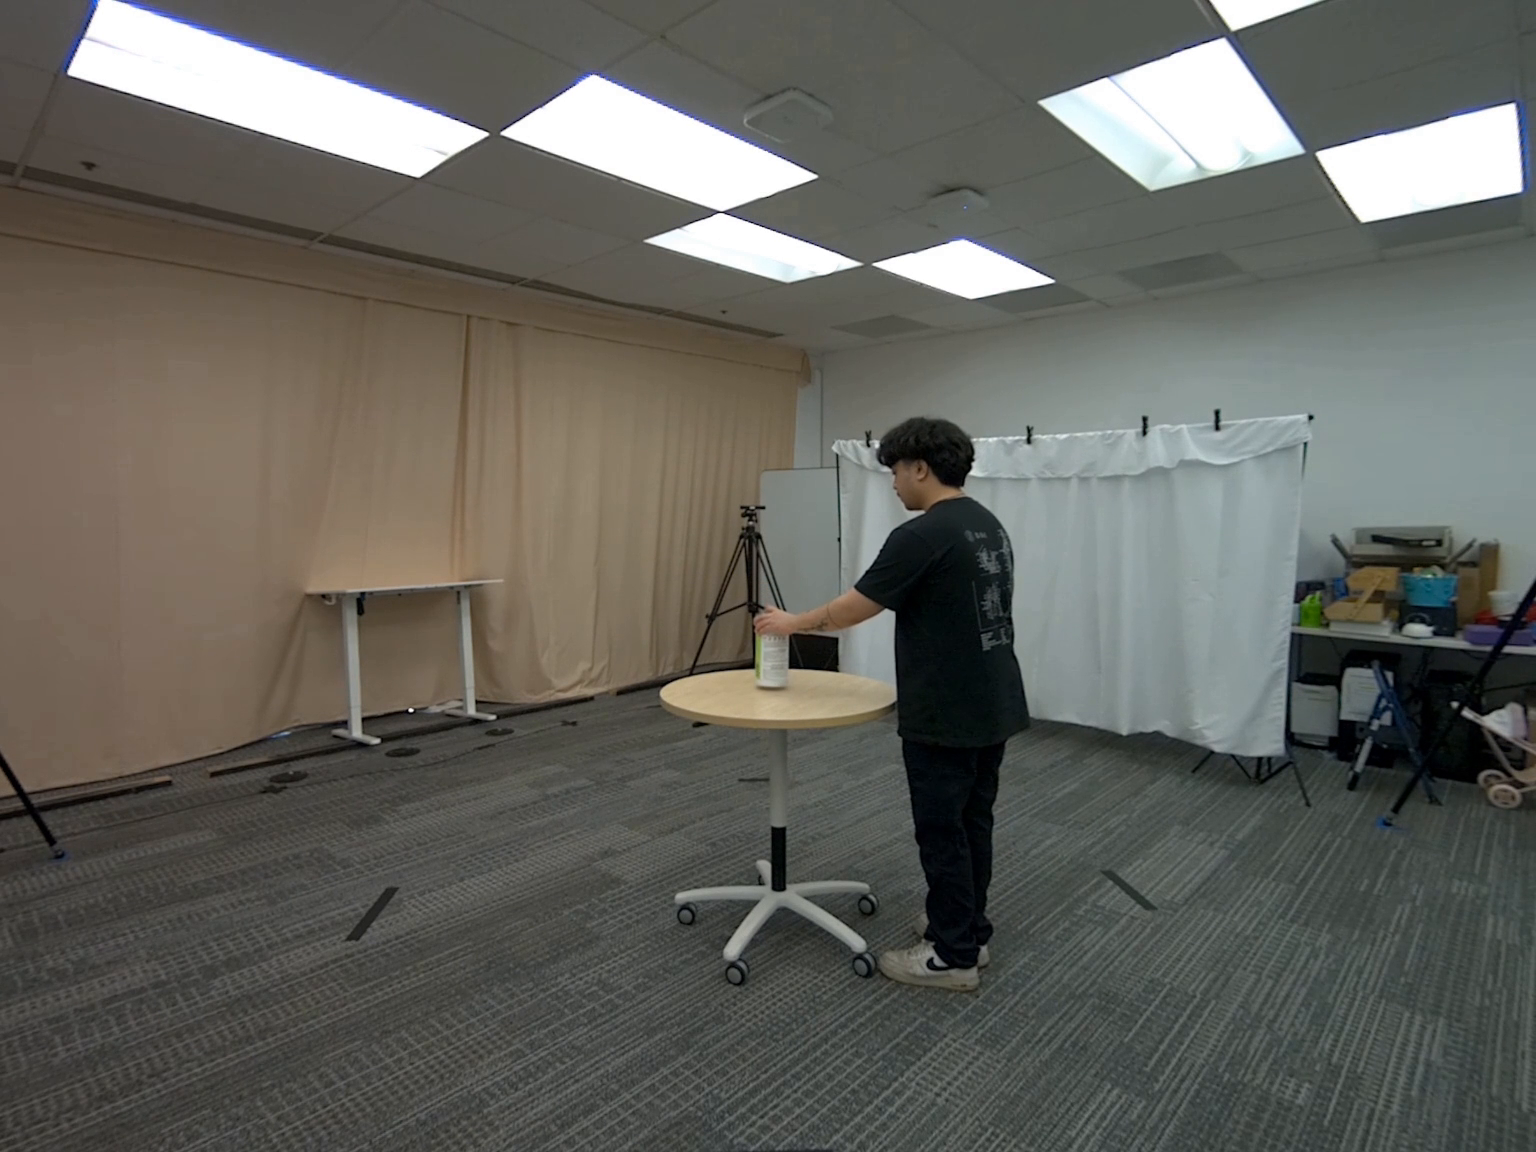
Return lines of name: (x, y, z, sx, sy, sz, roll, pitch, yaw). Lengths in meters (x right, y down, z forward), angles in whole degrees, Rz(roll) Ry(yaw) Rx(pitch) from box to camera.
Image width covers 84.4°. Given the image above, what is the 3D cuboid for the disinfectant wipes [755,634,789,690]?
disinfectant wipes: (0.022, 0.254, 2.761, 0.117, 0.217, 0.118, 2, 2, -2)
